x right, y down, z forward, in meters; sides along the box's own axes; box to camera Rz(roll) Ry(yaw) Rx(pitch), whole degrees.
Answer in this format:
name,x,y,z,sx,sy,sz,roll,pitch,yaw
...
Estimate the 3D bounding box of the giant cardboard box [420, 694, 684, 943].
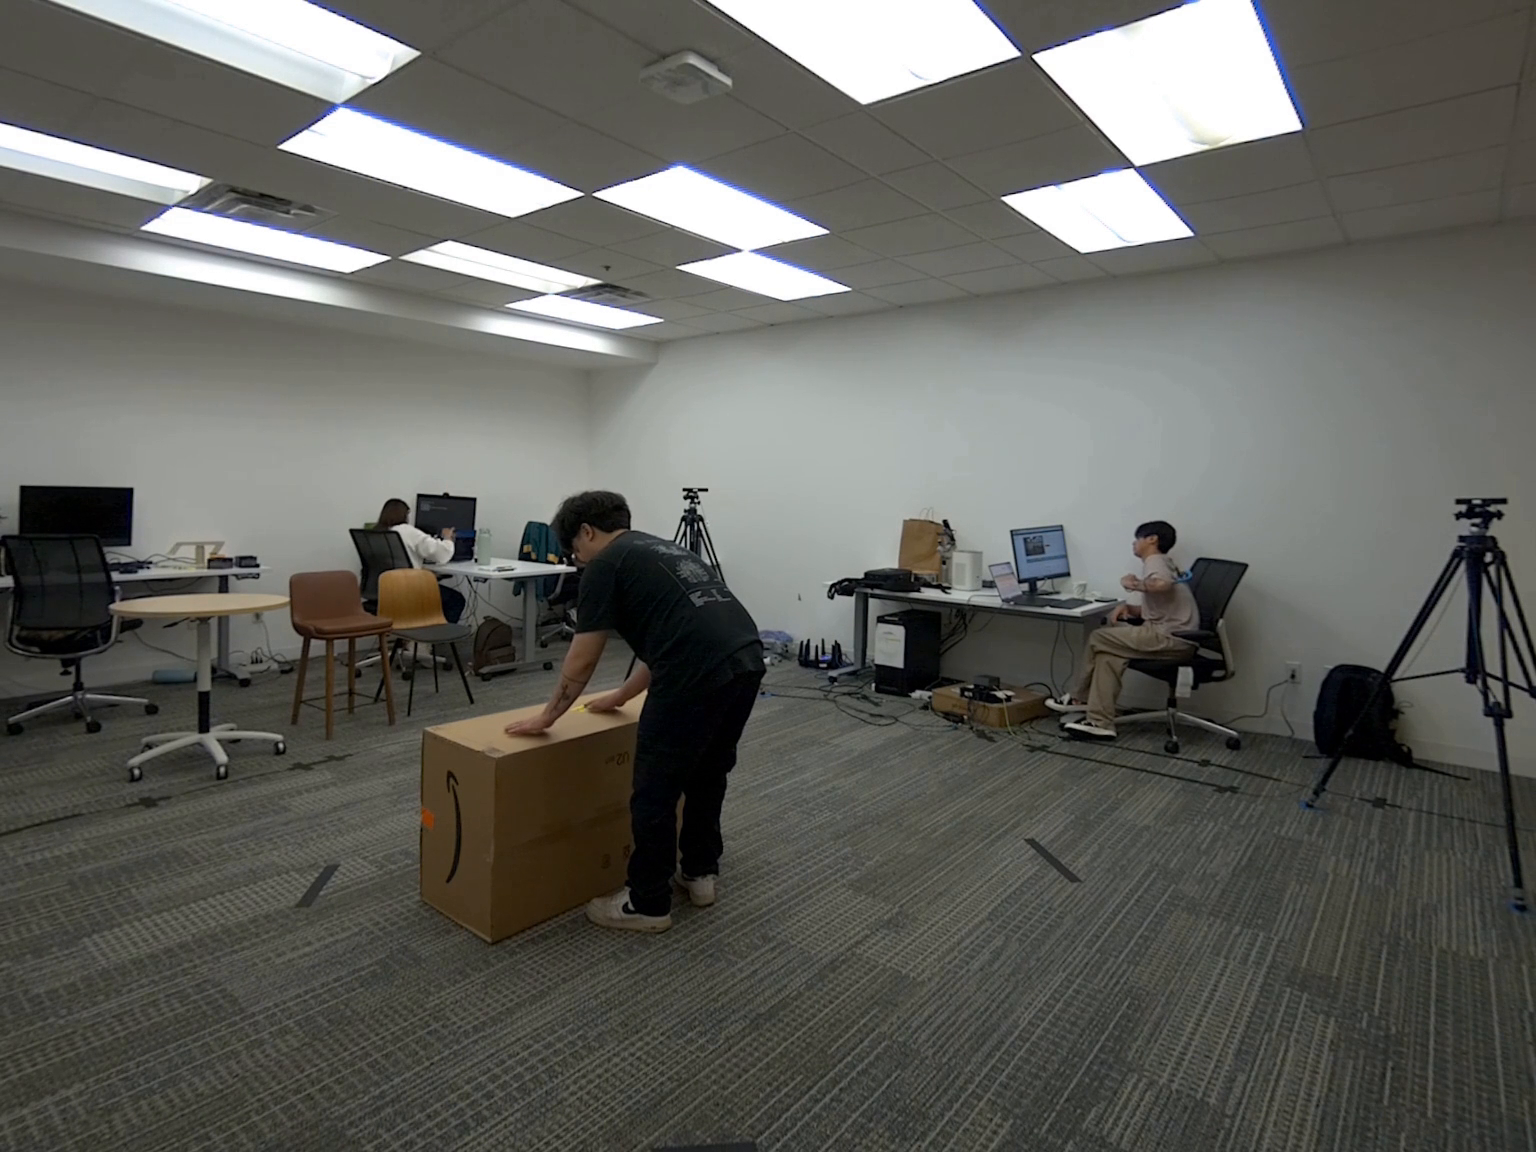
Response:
name,x,y,z,sx,sy,sz,roll,pitch,yaw
giant cardboard box,-0.690,0.781,3.072,0.461,0.582,0.996,3,4,39
